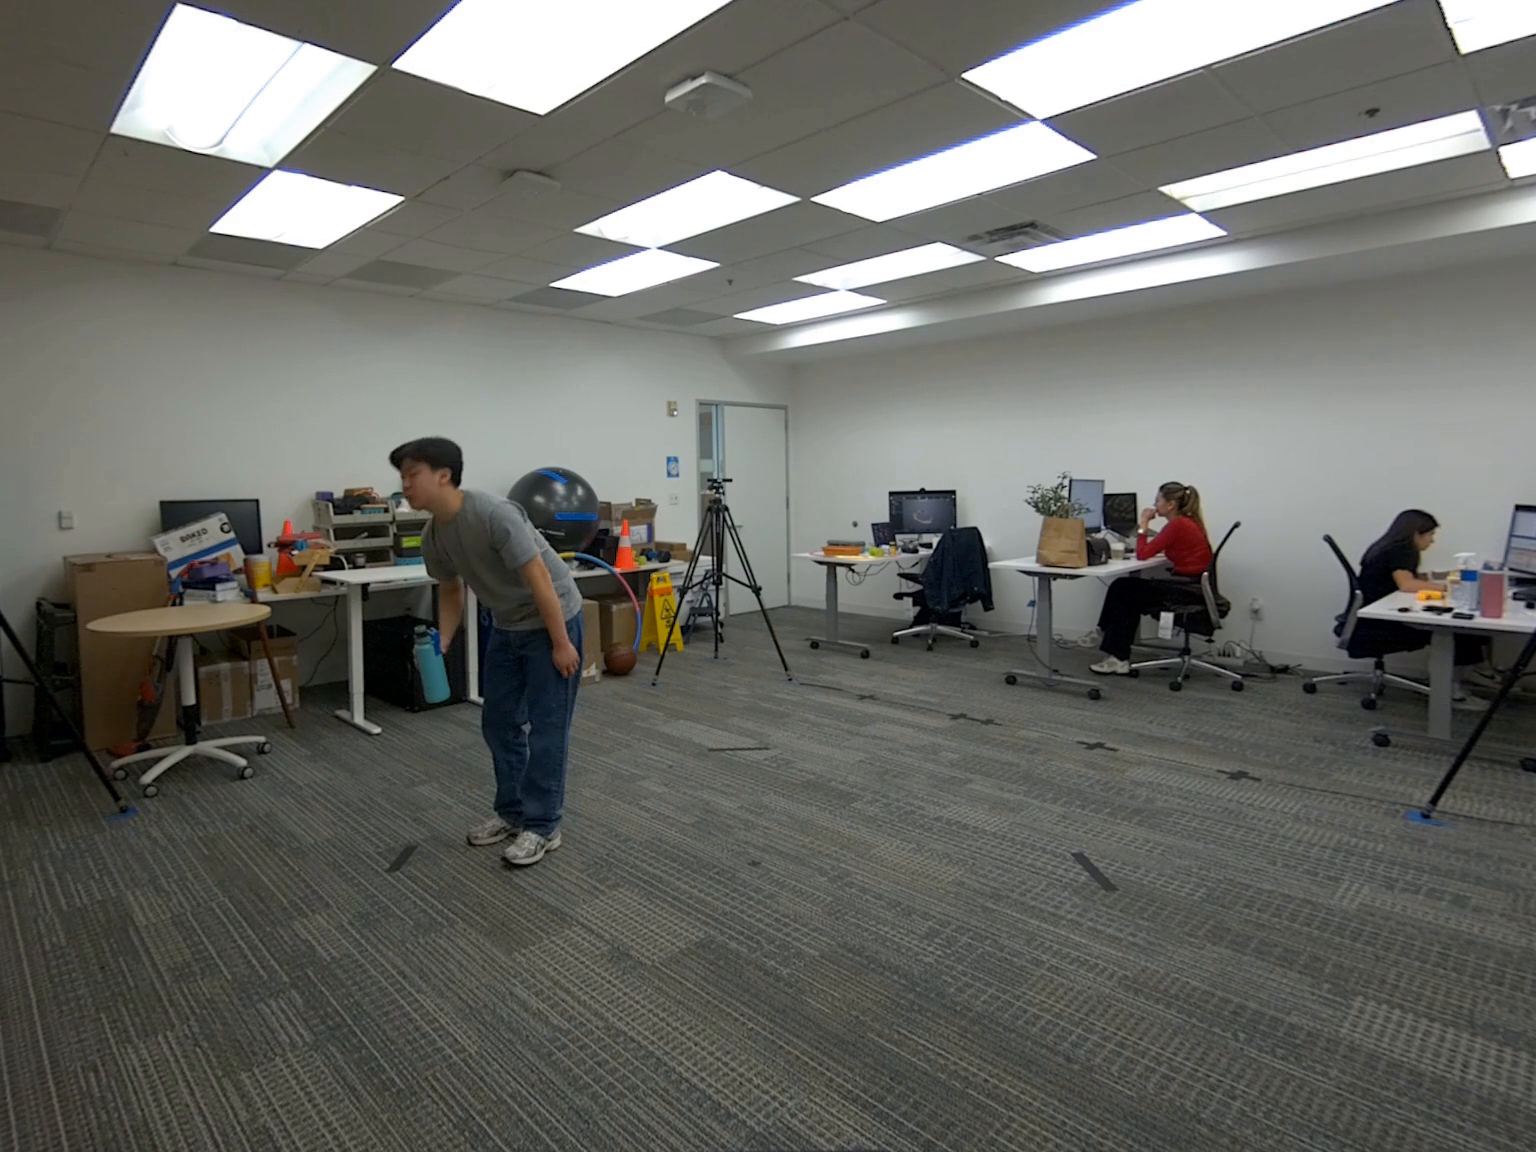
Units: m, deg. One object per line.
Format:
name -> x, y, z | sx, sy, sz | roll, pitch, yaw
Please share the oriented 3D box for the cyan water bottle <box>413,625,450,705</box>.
cyan water bottle -> -1.242, 0.338, 3.164 | 0.092, 0.279, 0.093 | -5, 14, 0
